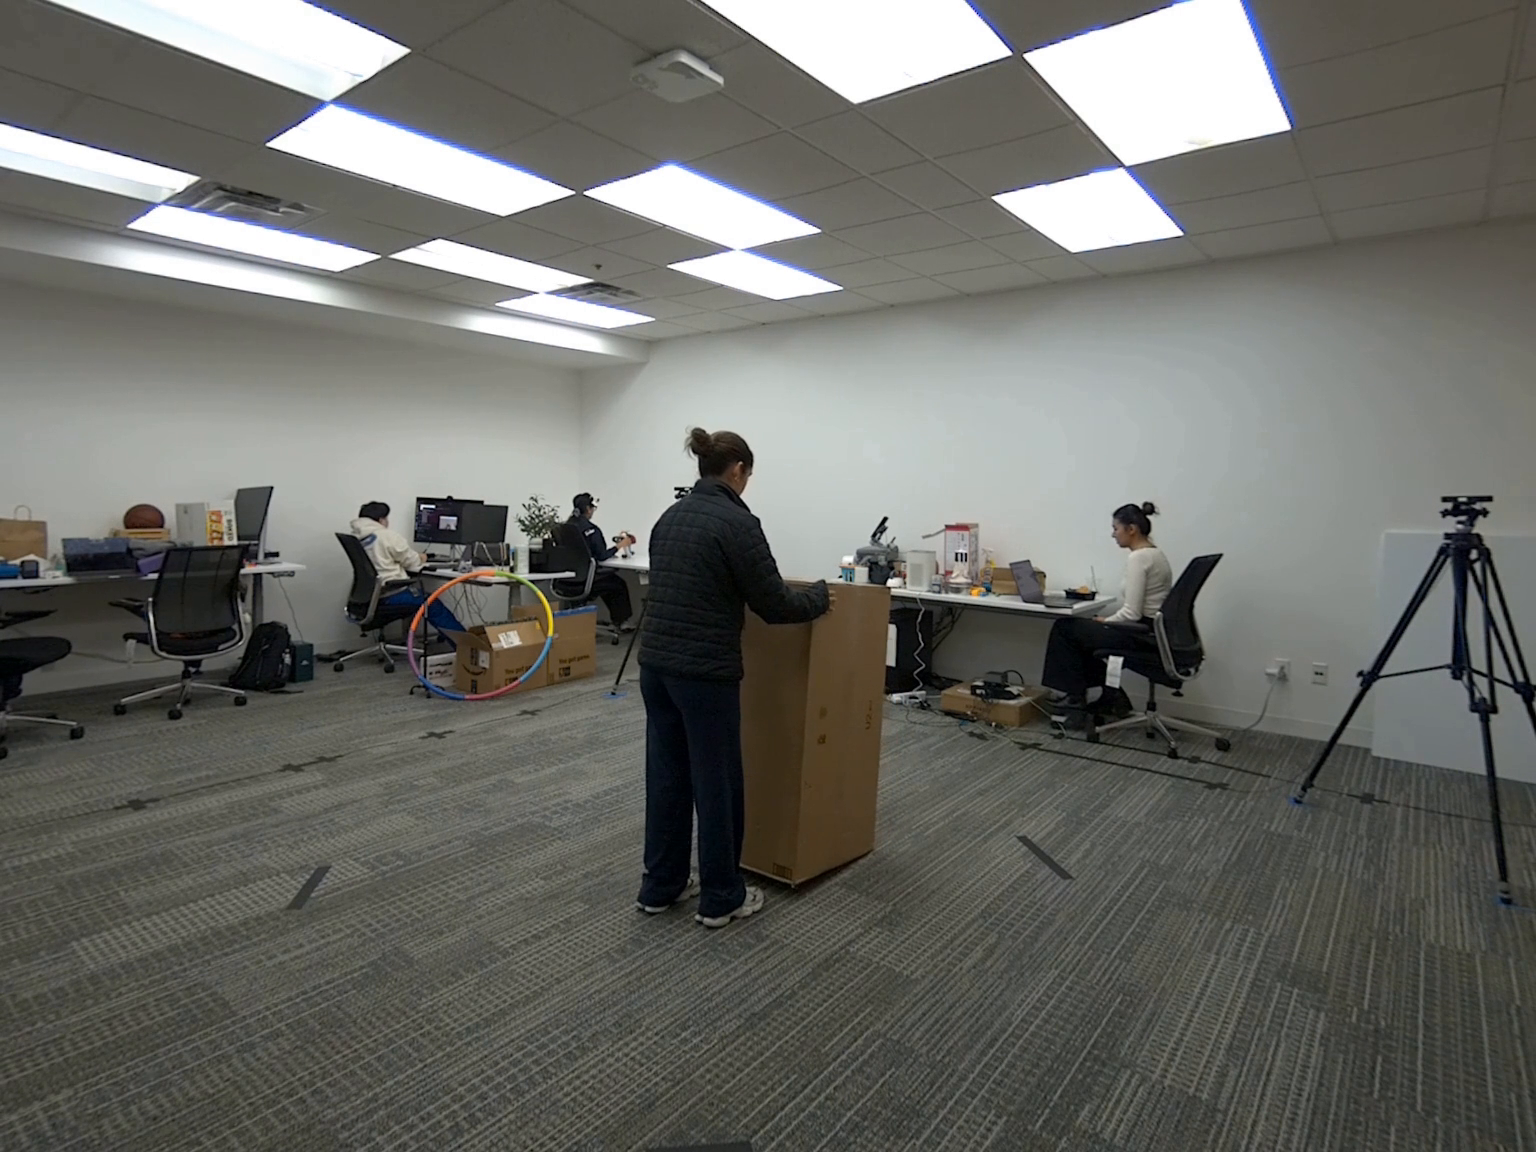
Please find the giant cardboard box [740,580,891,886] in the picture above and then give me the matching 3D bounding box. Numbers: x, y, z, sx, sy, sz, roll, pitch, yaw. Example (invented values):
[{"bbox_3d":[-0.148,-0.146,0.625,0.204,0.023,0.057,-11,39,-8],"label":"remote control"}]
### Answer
[{"bbox_3d":[0.133,0.530,3.239,0.440,1.027,0.558,3,-2,38],"label":"giant cardboard box"}]
